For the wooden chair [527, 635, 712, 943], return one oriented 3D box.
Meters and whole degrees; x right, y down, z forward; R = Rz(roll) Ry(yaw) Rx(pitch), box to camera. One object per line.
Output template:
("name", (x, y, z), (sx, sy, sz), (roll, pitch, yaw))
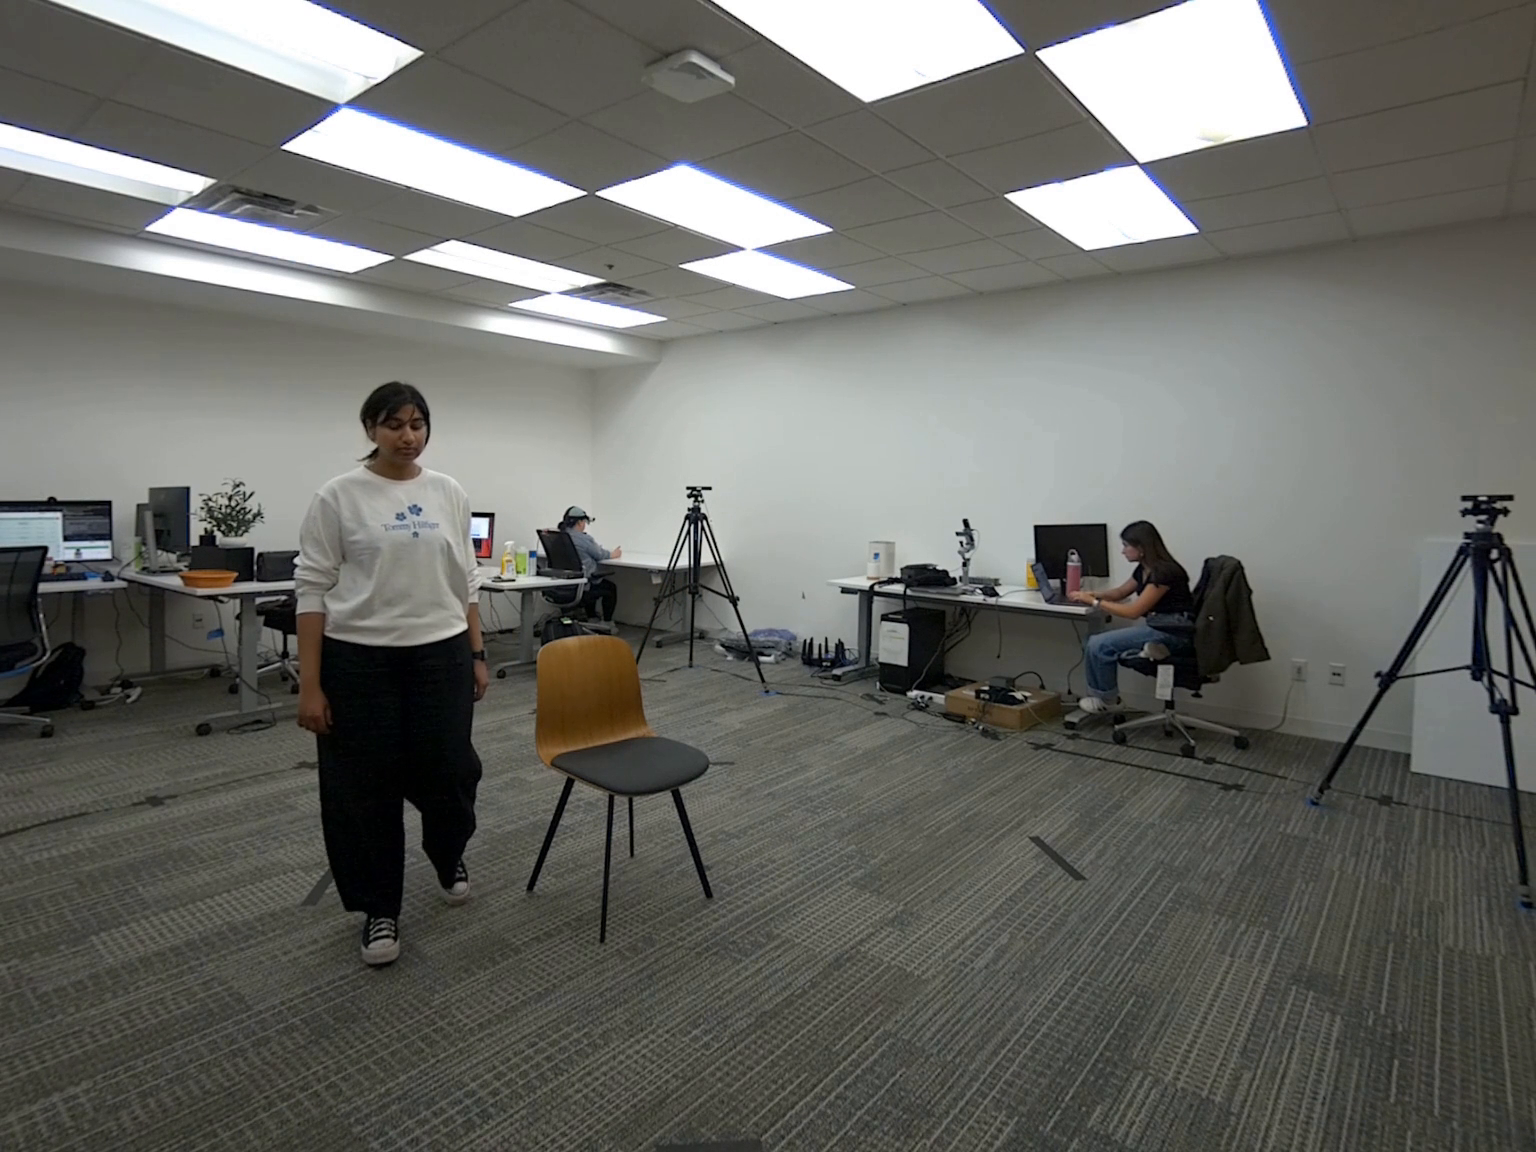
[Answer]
("wooden chair", (-0.492, 0.655, 2.865), (0.463, 0.878, 0.539), (-2, 0, -44))
